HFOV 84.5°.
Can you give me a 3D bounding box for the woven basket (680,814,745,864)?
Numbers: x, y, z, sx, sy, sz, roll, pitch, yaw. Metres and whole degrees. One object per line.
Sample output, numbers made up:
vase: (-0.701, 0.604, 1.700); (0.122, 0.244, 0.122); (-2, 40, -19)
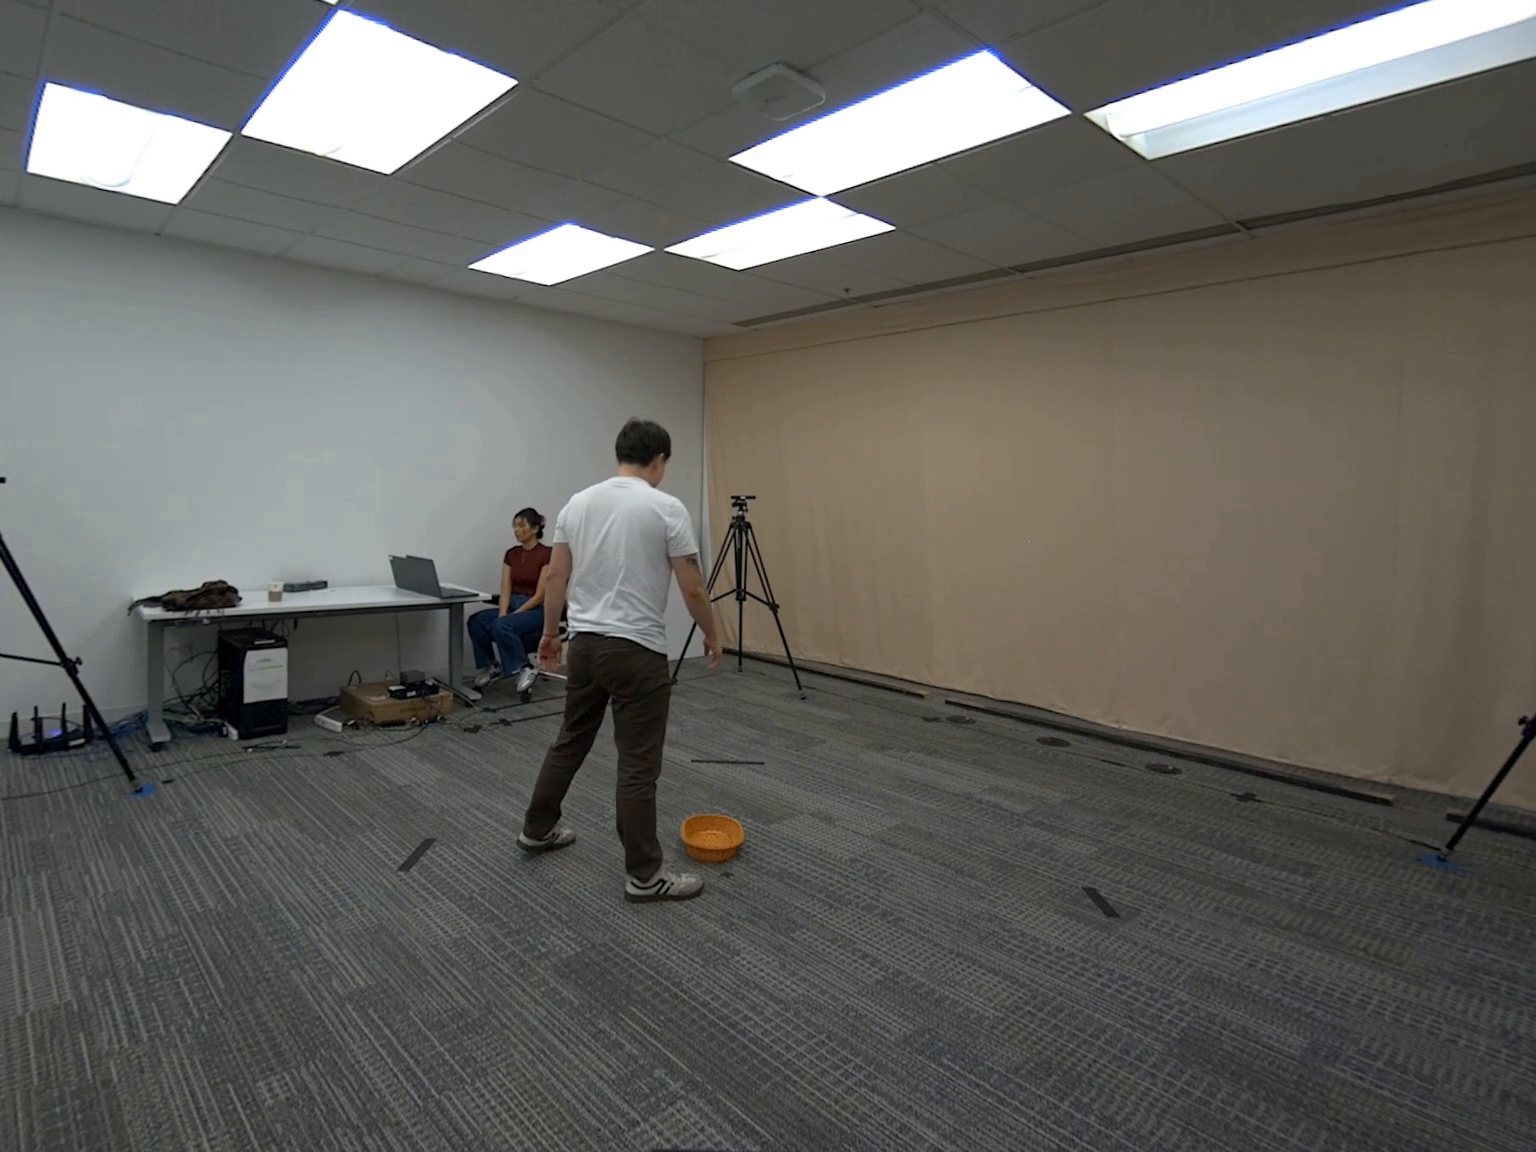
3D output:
woven basket: (-0.235, 1.043, 3.336); (0.252, 0.073, 0.352); (2, 5, -3)
